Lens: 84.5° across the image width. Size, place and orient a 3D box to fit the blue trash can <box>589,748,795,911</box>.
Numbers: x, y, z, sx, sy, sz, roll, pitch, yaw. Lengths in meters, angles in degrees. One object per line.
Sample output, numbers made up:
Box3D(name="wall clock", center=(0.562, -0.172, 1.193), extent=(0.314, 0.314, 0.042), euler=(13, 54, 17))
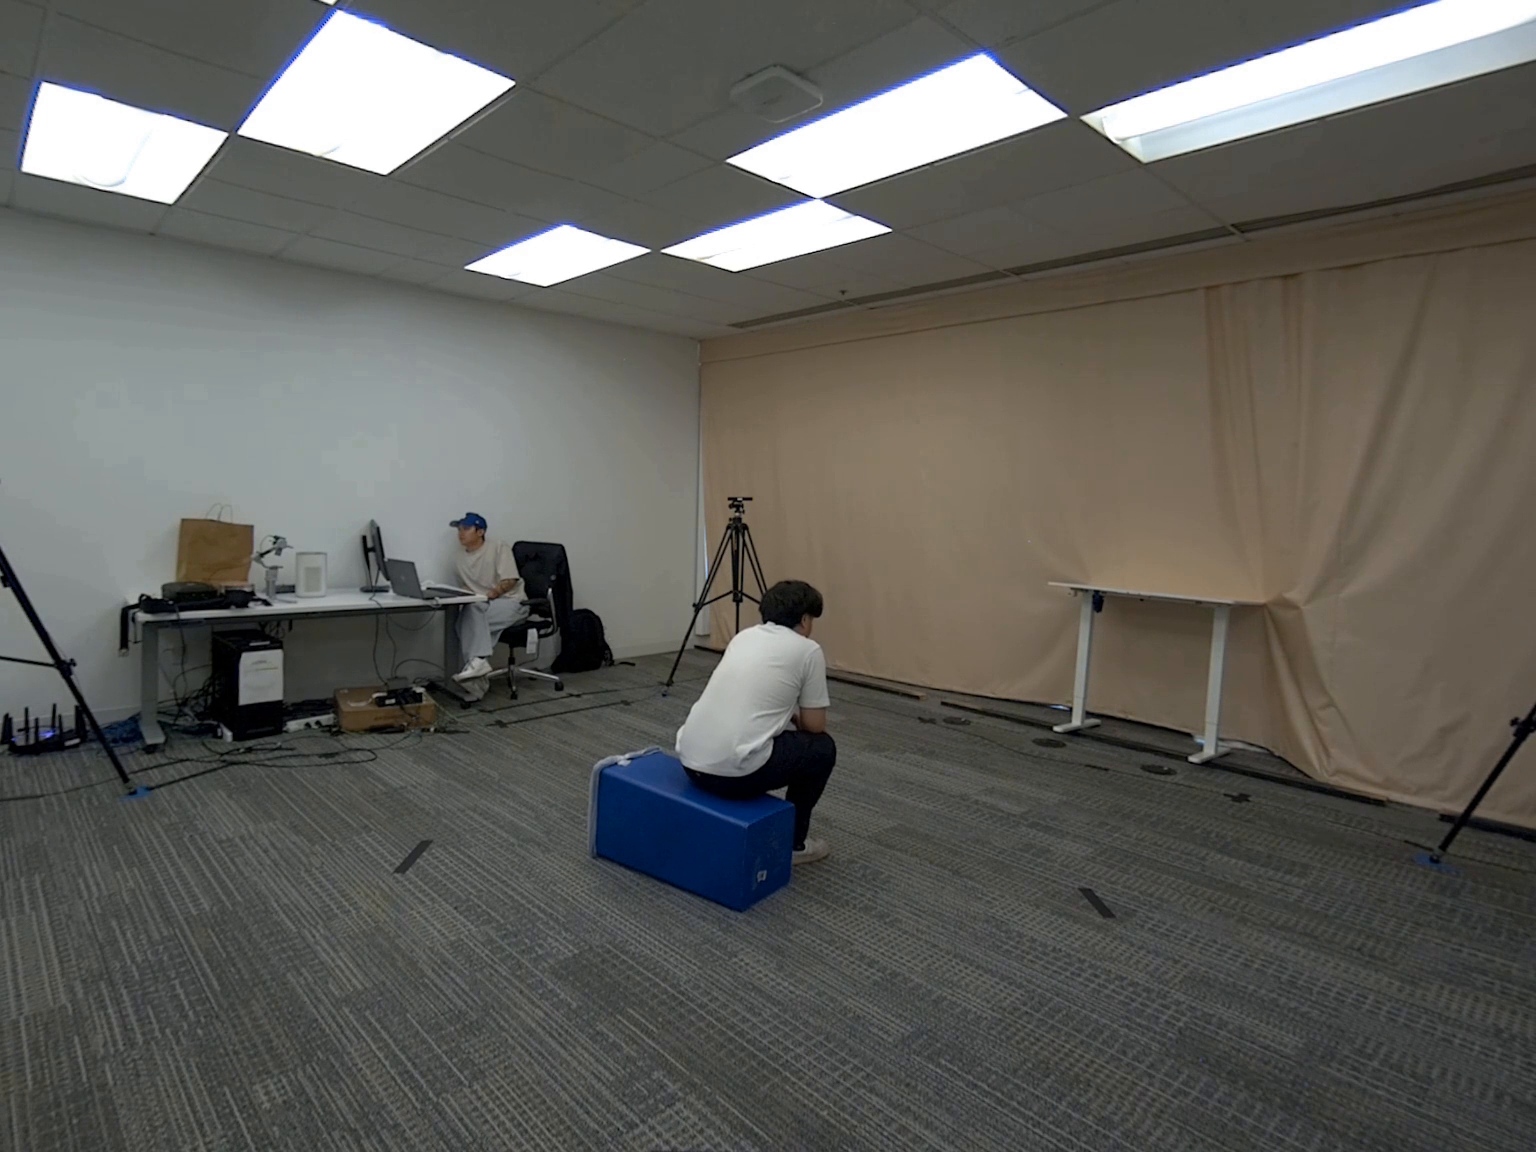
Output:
Box3D(name="blue trash can", center=(-0.296, 0.938, 3.142), extent=(0.732, 0.373, 0.369), euler=(9, 6, 37))
